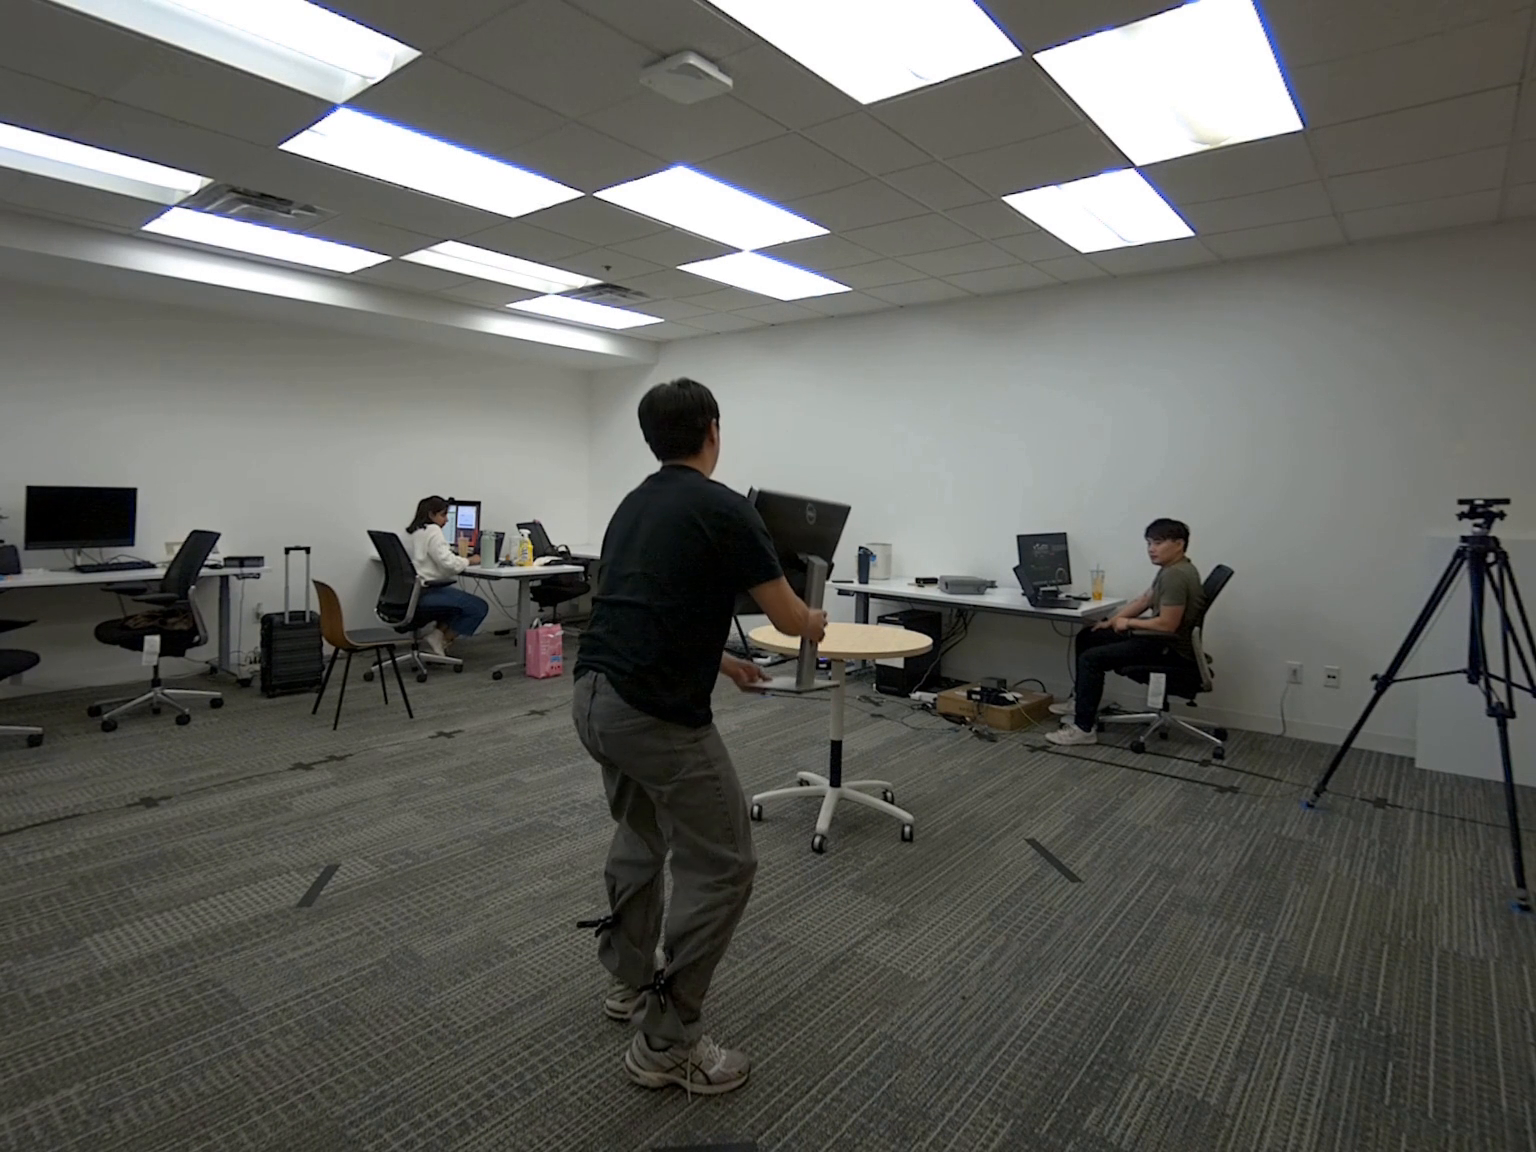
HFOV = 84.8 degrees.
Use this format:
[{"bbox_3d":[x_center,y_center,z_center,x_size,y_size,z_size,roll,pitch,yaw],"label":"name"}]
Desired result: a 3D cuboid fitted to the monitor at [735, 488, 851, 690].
[{"bbox_3d":[0.061,0.061,2.434,0.229,0.566,0.544,5,0,35],"label":"monitor"}]
